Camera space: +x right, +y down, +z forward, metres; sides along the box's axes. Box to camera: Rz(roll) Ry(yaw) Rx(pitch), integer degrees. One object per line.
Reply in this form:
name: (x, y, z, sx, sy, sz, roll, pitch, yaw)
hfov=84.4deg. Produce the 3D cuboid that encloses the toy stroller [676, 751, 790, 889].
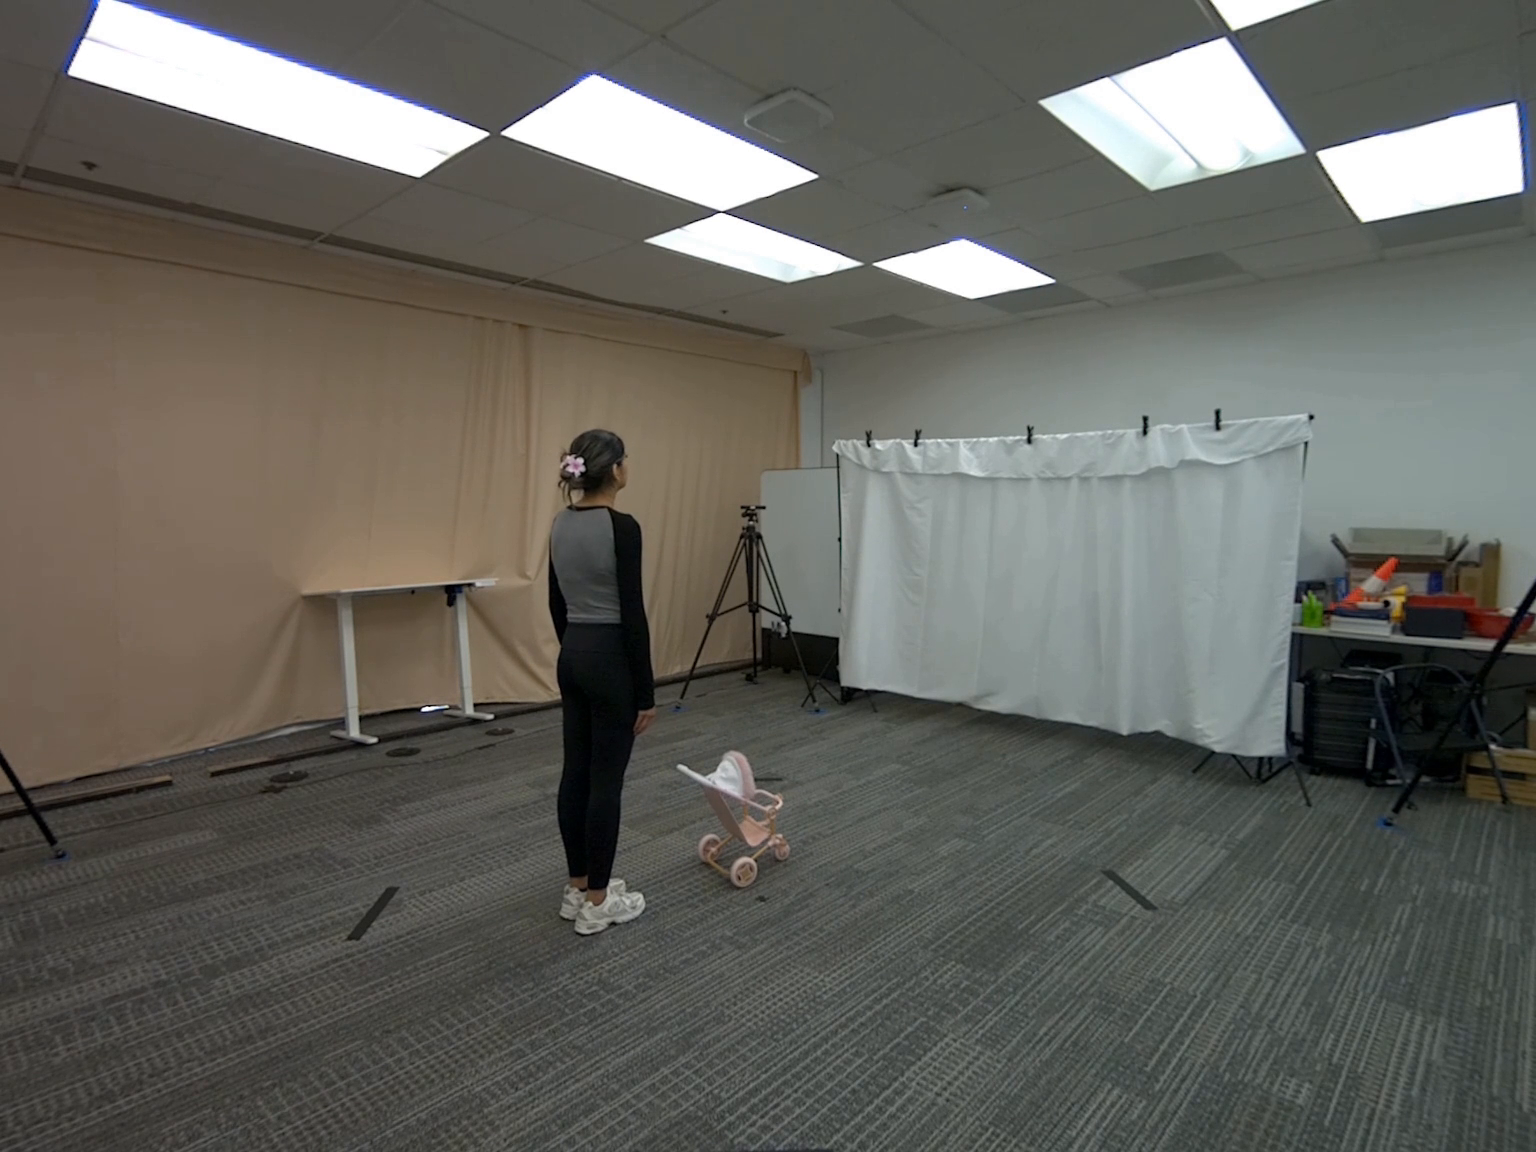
toy stroller: (-0.107, 0.902, 3.202, 0.335, 0.530, 0.289, -21, 12, -26)
